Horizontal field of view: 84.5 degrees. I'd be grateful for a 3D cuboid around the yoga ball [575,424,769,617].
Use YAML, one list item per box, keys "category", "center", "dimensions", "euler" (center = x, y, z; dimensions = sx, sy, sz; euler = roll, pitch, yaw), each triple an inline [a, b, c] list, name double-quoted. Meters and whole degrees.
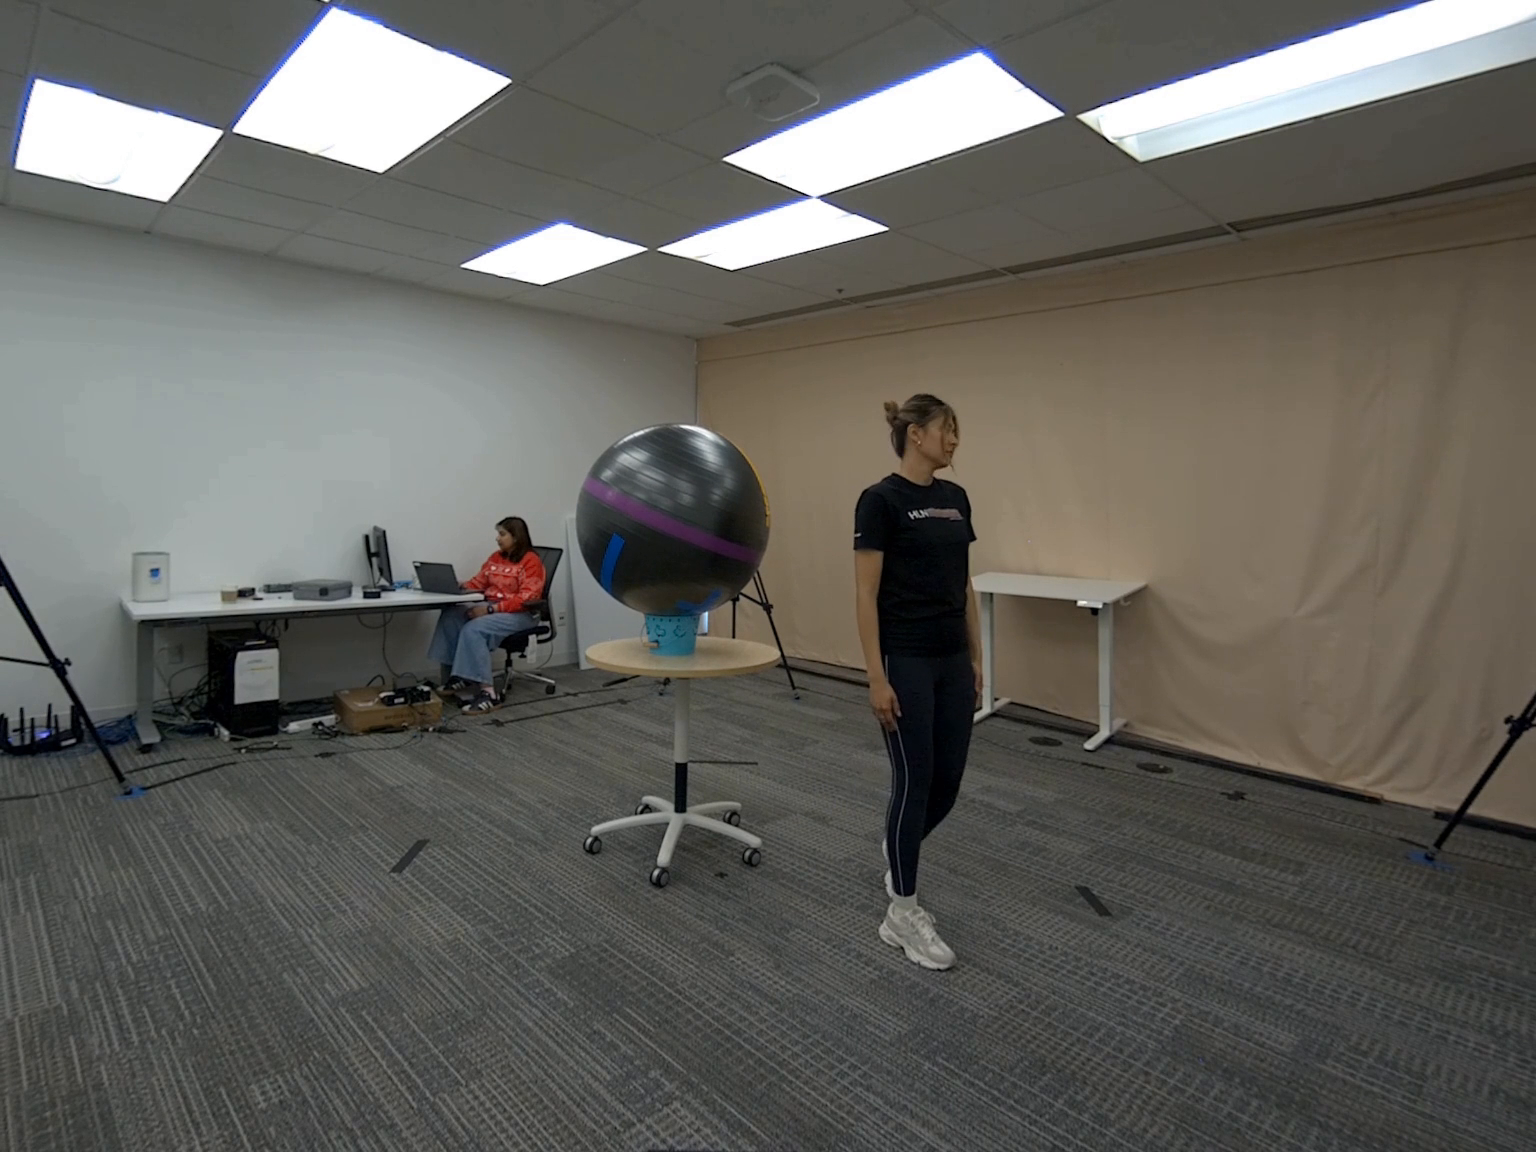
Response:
- category: "yoga ball"
  center: [-0.375, -0.212, 3.298]
  dimensions: [0.757, 0.756, 0.761]
  euler: [1, 4, -1]
